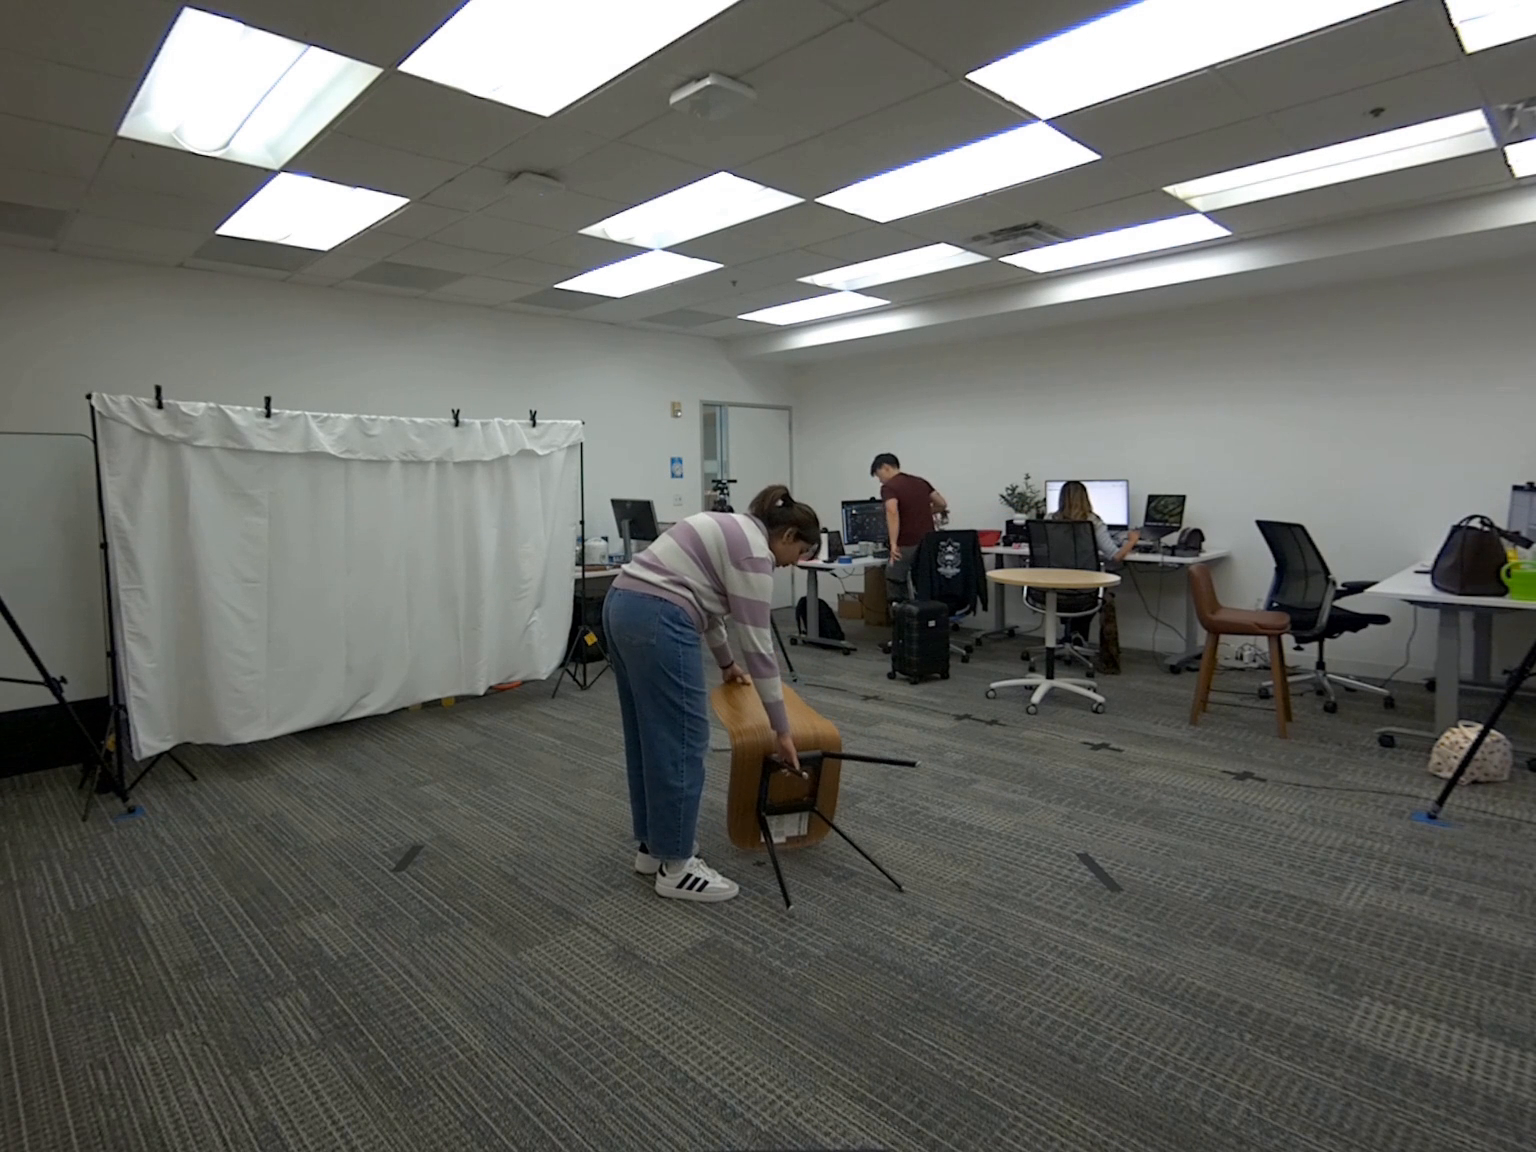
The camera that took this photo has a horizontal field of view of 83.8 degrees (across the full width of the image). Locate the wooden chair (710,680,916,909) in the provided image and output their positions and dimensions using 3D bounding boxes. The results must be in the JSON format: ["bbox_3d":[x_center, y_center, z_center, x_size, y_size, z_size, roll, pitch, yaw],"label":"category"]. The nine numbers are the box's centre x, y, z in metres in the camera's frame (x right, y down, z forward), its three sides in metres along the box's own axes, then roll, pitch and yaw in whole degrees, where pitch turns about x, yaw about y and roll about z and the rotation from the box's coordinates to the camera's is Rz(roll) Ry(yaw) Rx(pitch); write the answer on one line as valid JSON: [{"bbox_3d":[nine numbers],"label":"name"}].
[{"bbox_3d":[0.090,0.762,3.146,0.467,0.518,0.907,1,13,-28],"label":"wooden chair"}]
